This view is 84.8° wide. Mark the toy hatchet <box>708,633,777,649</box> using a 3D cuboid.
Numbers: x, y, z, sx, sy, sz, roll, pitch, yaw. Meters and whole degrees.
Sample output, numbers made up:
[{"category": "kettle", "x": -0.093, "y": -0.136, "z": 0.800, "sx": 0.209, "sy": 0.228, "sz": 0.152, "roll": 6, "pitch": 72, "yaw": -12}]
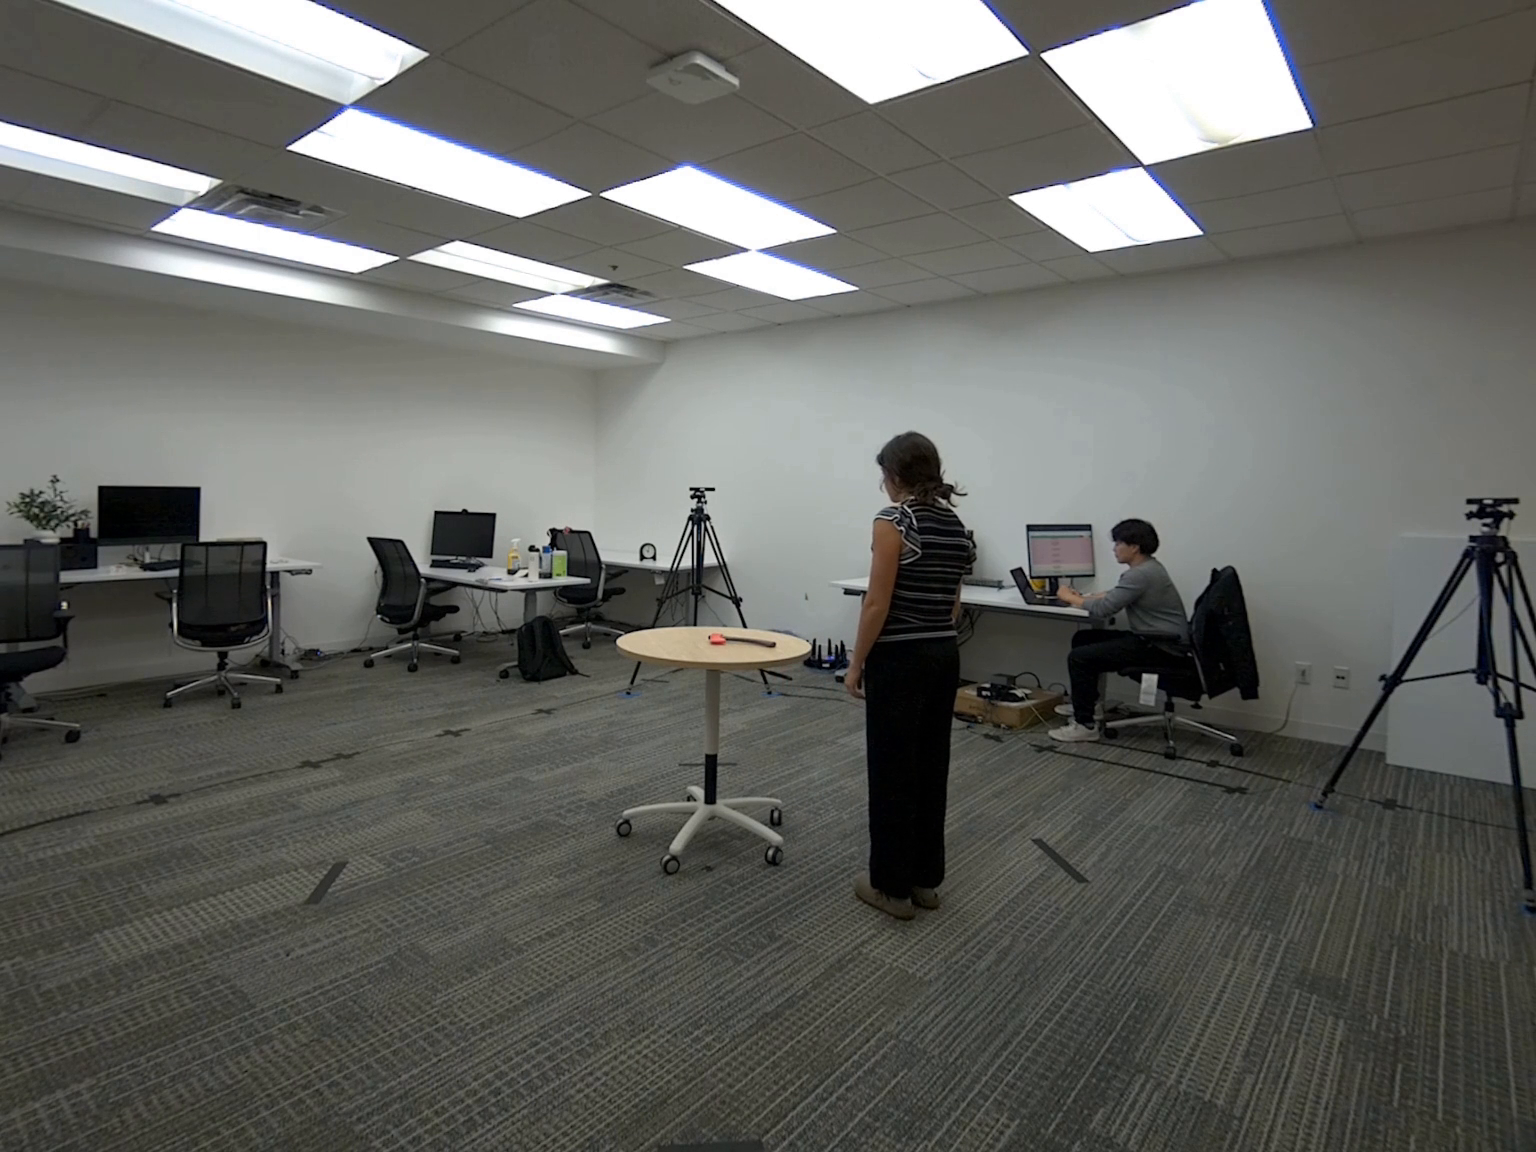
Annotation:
[{"category": "toy hatchet", "x": -0.117, "y": 0.252, "z": 3.323, "sx": 0.278, "sy": 0.029, "sz": 0.128, "roll": 6, "pitch": 8, "yaw": 30}]
